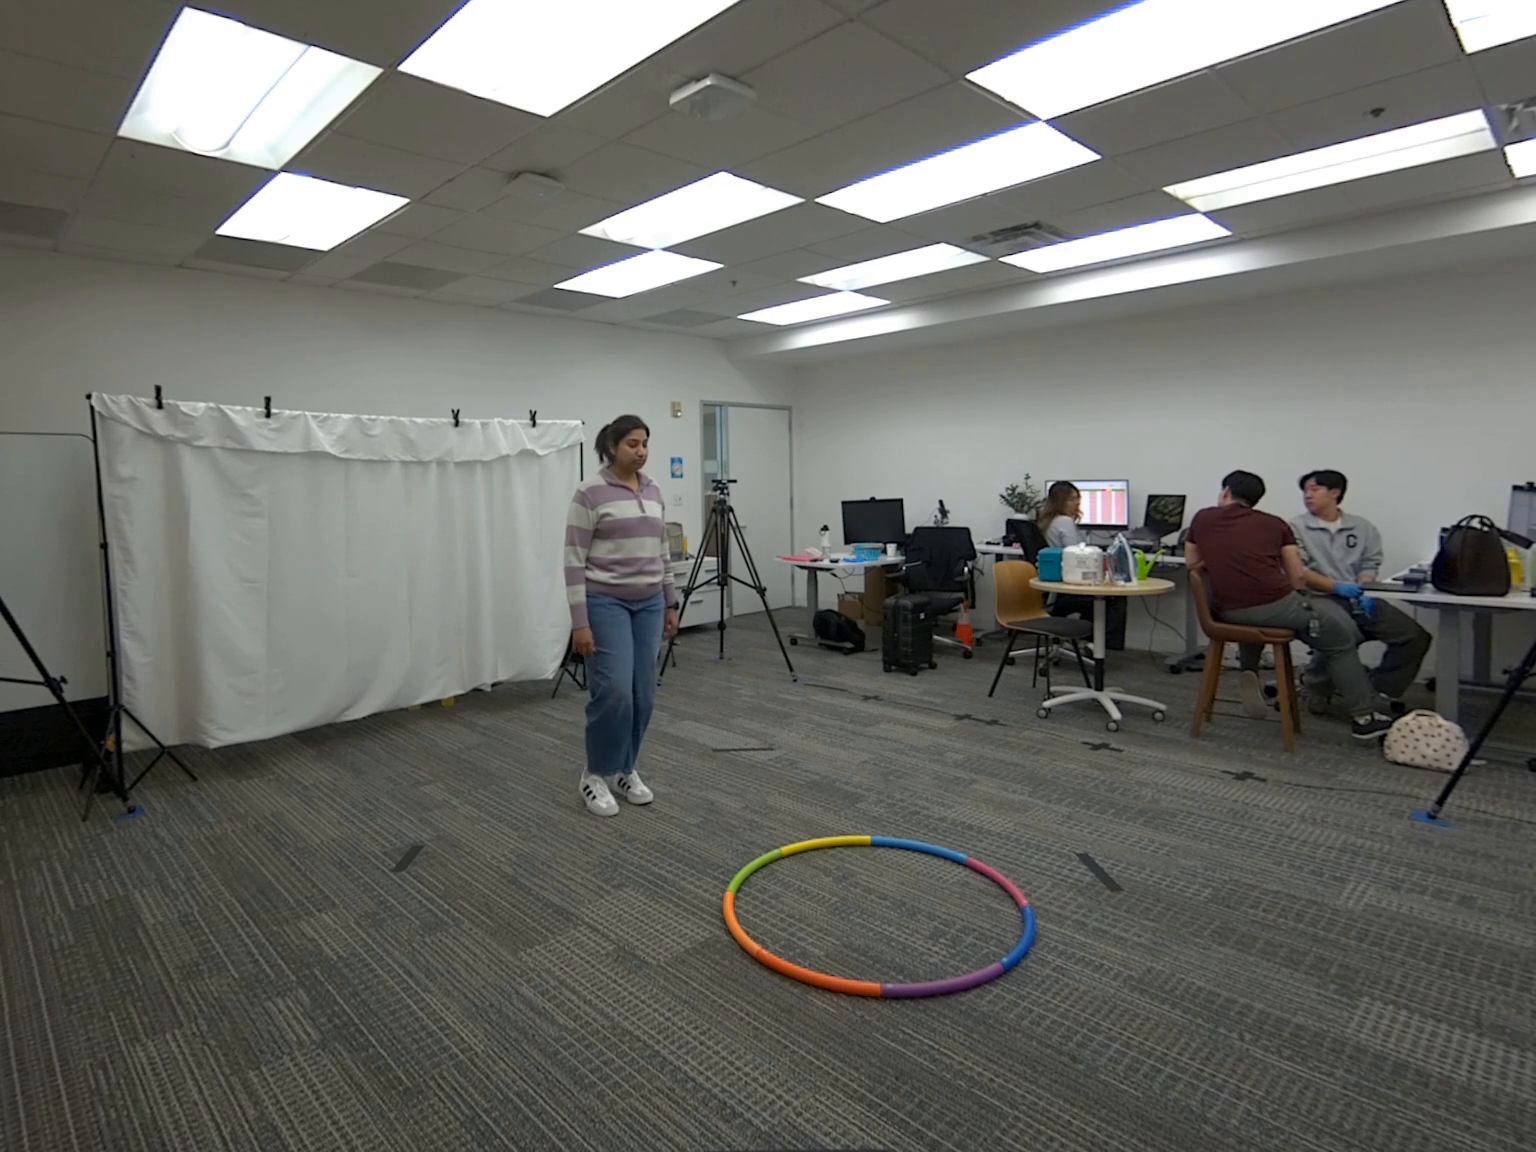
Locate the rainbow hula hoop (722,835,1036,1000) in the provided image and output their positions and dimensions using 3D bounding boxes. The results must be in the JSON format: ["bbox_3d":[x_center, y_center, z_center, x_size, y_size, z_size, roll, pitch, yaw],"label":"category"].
[{"bbox_3d":[0.343,1.049,2.776,0.978,0.035,0.984,-2,6,-2],"label":"rainbow hula hoop"}]
